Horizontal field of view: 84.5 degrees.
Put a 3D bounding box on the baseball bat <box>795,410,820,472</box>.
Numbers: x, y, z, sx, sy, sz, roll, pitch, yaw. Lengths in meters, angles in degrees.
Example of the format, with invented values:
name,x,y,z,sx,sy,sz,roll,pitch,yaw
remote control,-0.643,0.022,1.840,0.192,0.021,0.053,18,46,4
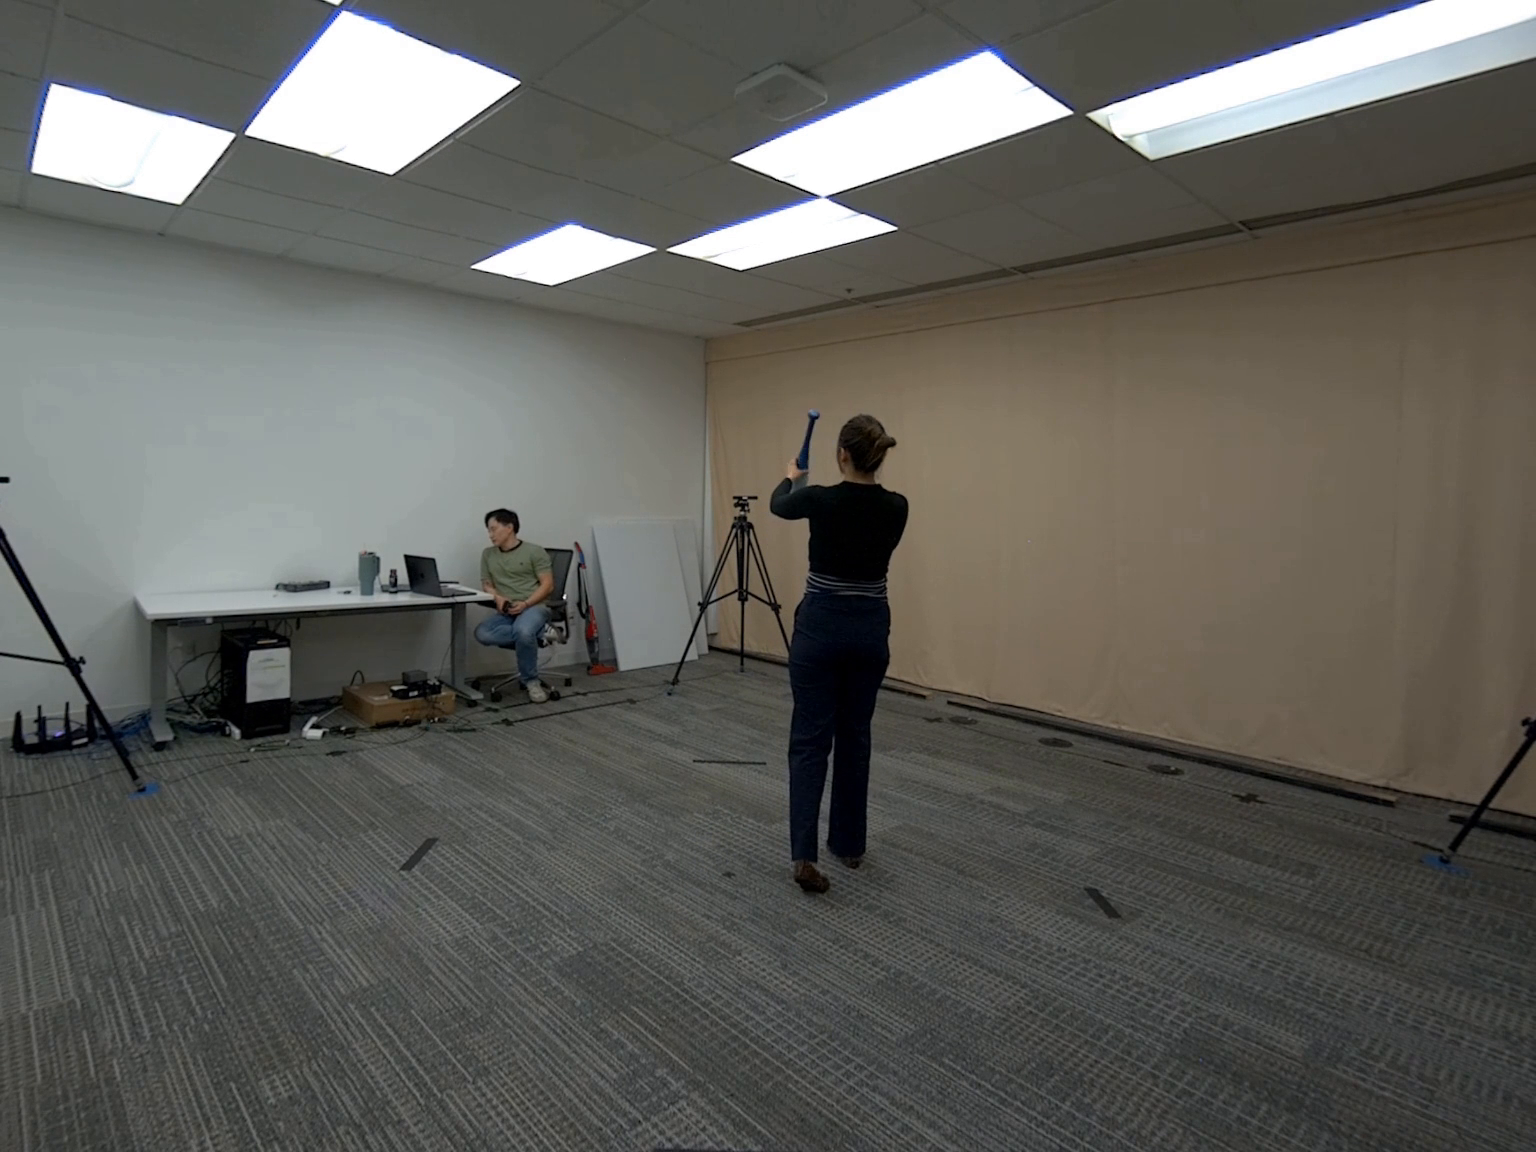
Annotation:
name,x,y,z,sx,sy,sz,roll,pitch,yaw
baseball bat,0.133,-0.482,3.626,0.088,0.534,0.091,6,43,-7
